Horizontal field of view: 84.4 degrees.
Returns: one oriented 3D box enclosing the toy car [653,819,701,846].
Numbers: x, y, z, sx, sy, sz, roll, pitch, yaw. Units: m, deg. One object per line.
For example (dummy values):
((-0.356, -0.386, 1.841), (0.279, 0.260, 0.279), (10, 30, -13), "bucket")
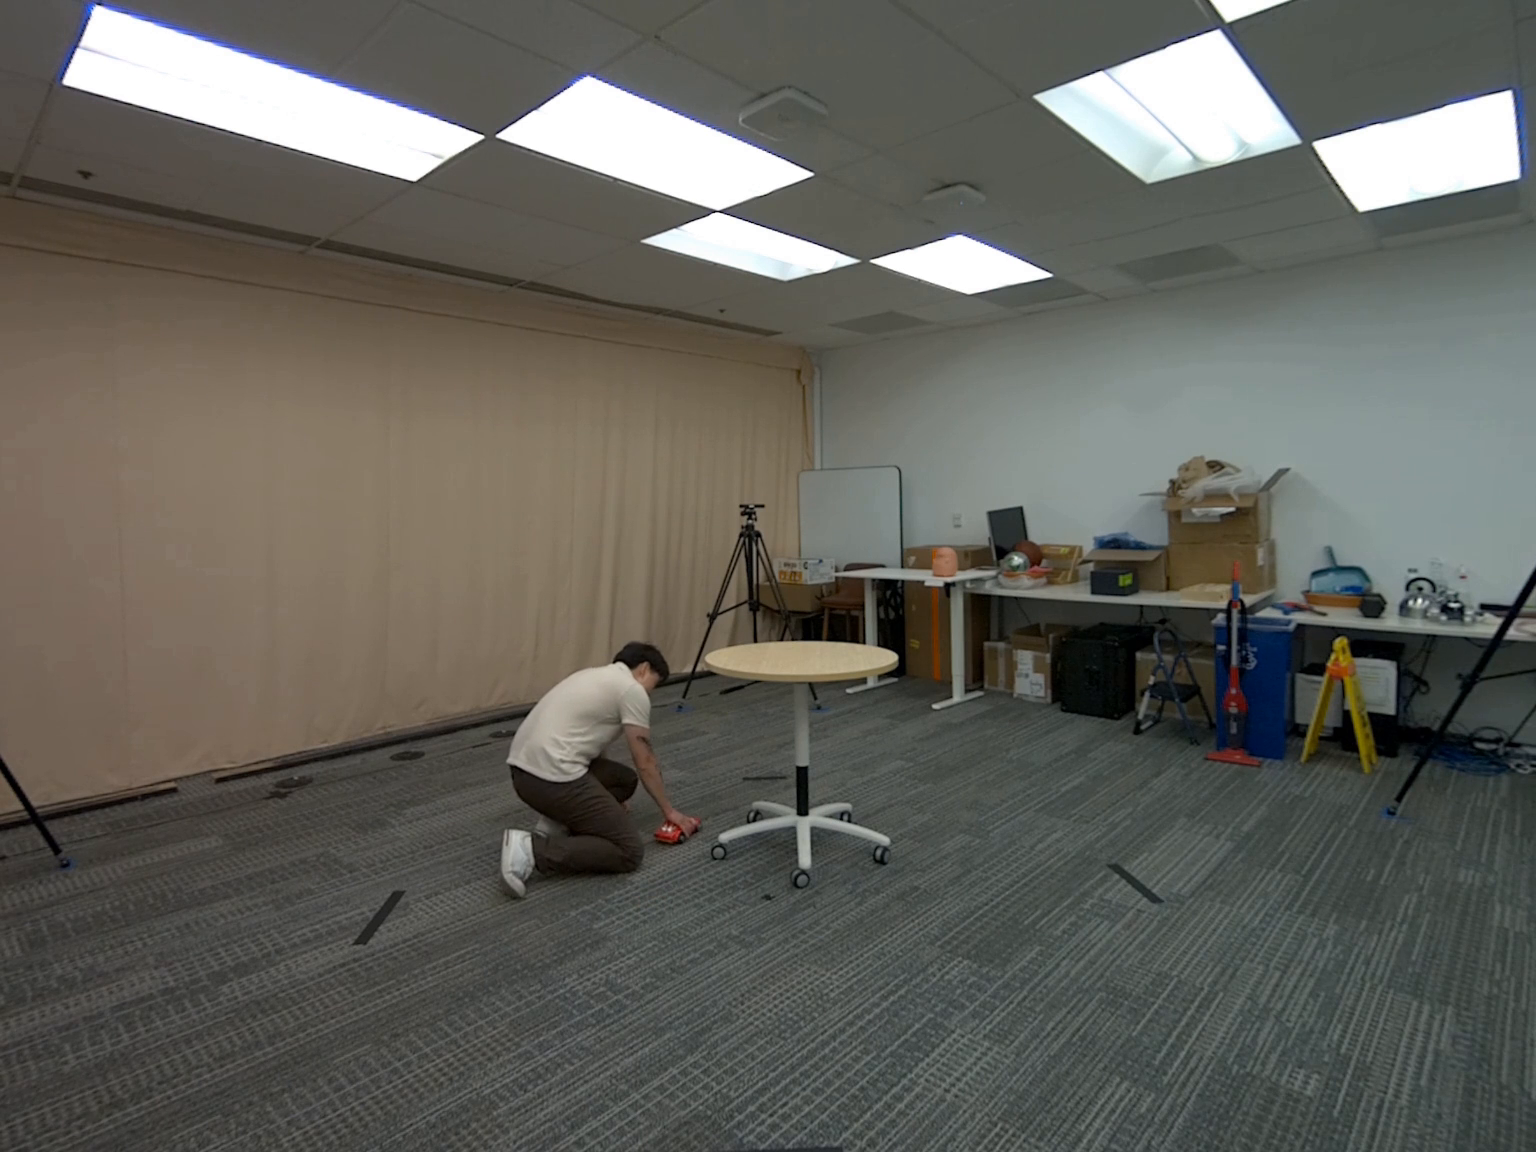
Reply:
((-0.388, 1.075, 3.544), (0.134, 0.083, 0.246), (2, -6, 29), "toy car")
